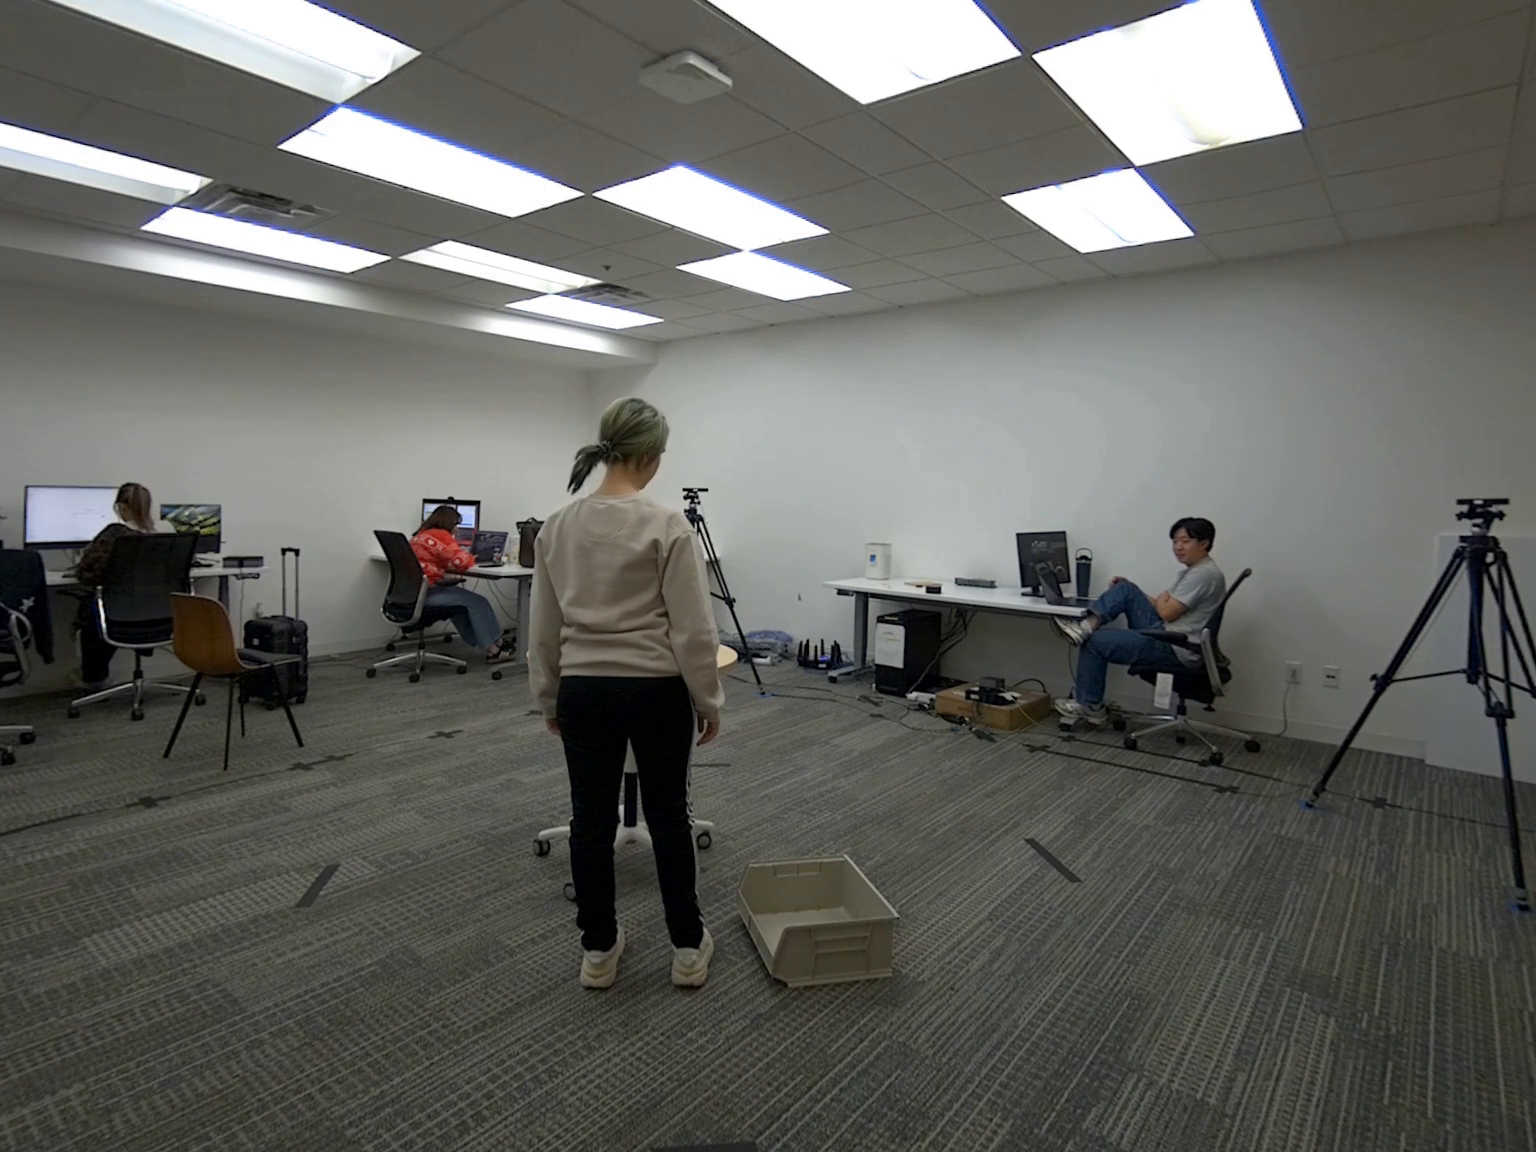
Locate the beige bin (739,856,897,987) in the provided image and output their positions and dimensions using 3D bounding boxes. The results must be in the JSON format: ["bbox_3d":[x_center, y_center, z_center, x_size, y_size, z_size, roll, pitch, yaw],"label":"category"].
[{"bbox_3d":[0.132,1.039,2.597,0.372,0.188,0.430,0,4,-15],"label":"beige bin"}]
